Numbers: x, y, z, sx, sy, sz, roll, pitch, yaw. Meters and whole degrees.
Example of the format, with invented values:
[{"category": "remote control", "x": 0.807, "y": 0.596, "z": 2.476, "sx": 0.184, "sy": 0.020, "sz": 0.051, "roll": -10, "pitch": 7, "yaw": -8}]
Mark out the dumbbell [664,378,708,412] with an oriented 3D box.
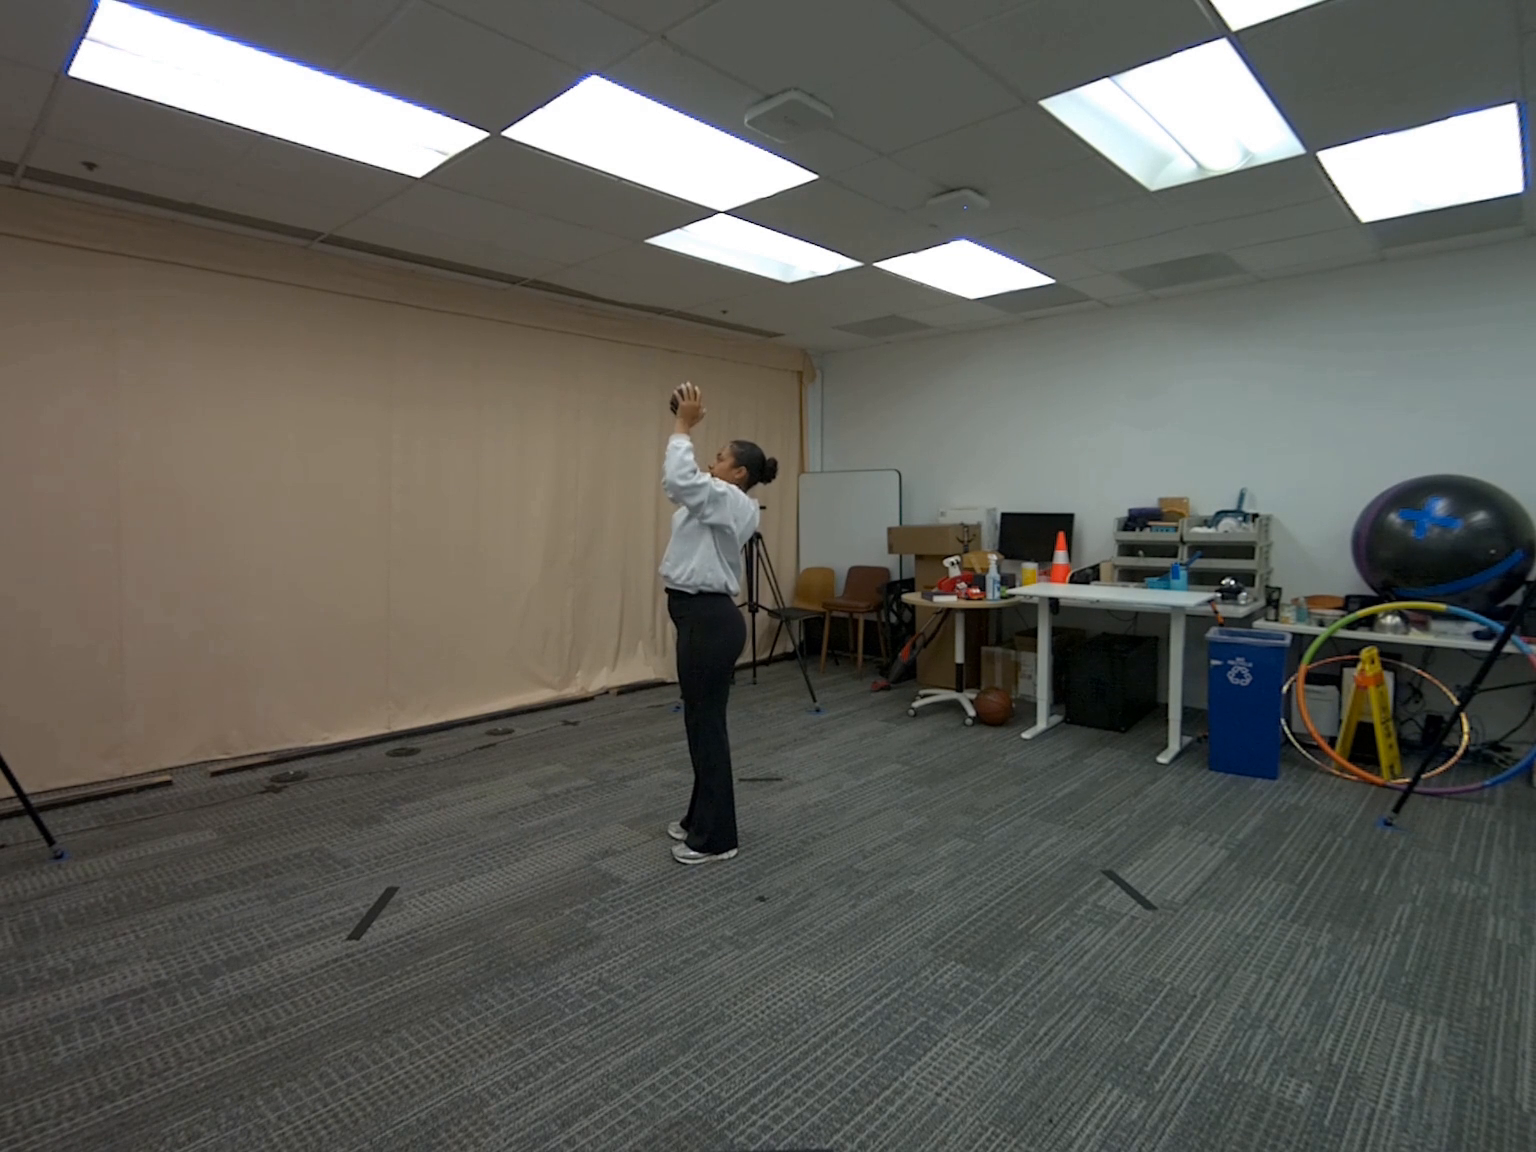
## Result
[{"category": "dumbbell", "x": -0.325, "y": -0.683, "z": 3.353, "sx": 0.122, "sy": 0.109, "sz": 0.295, "roll": 44, "pitch": 1, "yaw": -7}]
